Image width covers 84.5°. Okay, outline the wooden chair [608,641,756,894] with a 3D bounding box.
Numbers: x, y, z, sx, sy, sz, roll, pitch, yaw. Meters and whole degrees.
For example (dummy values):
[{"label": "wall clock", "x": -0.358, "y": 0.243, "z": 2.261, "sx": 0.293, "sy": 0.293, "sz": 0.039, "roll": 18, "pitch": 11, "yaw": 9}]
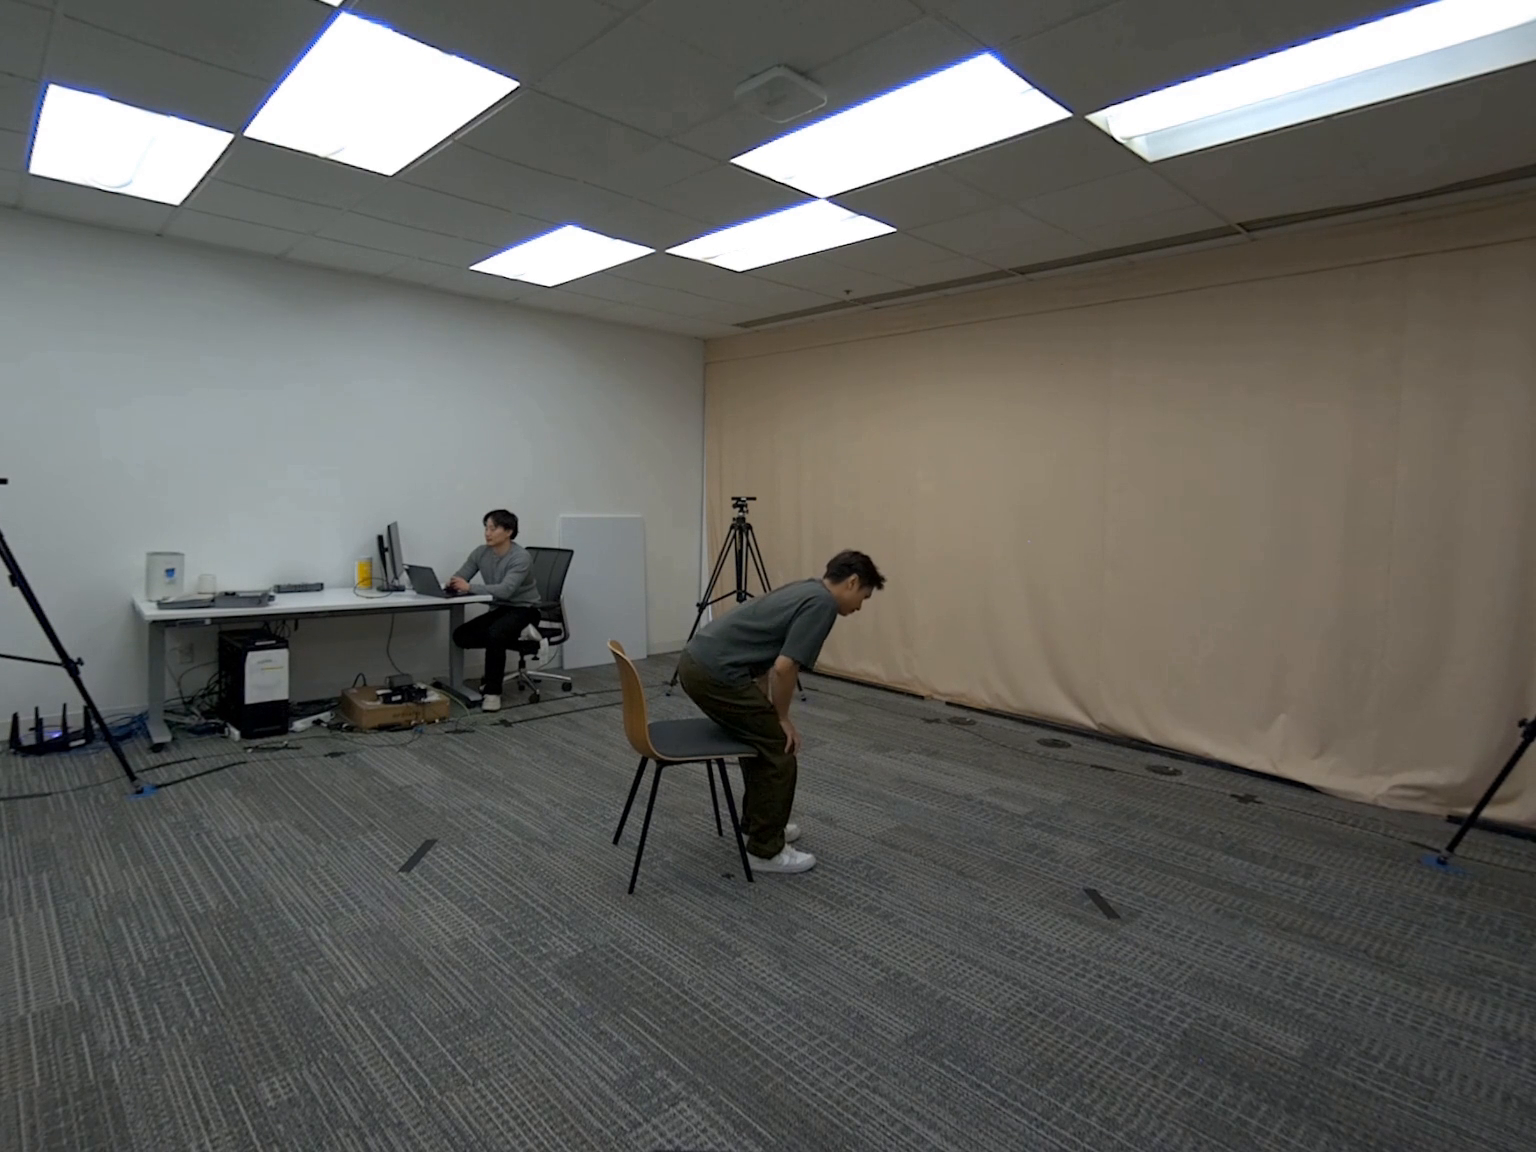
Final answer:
[{"label": "wooden chair", "x": -0.326, "y": 0.667, "z": 3.180, "sx": 0.517, "sy": 0.875, "sz": 0.485, "roll": -3, "pitch": 4, "yaw": -16}]
